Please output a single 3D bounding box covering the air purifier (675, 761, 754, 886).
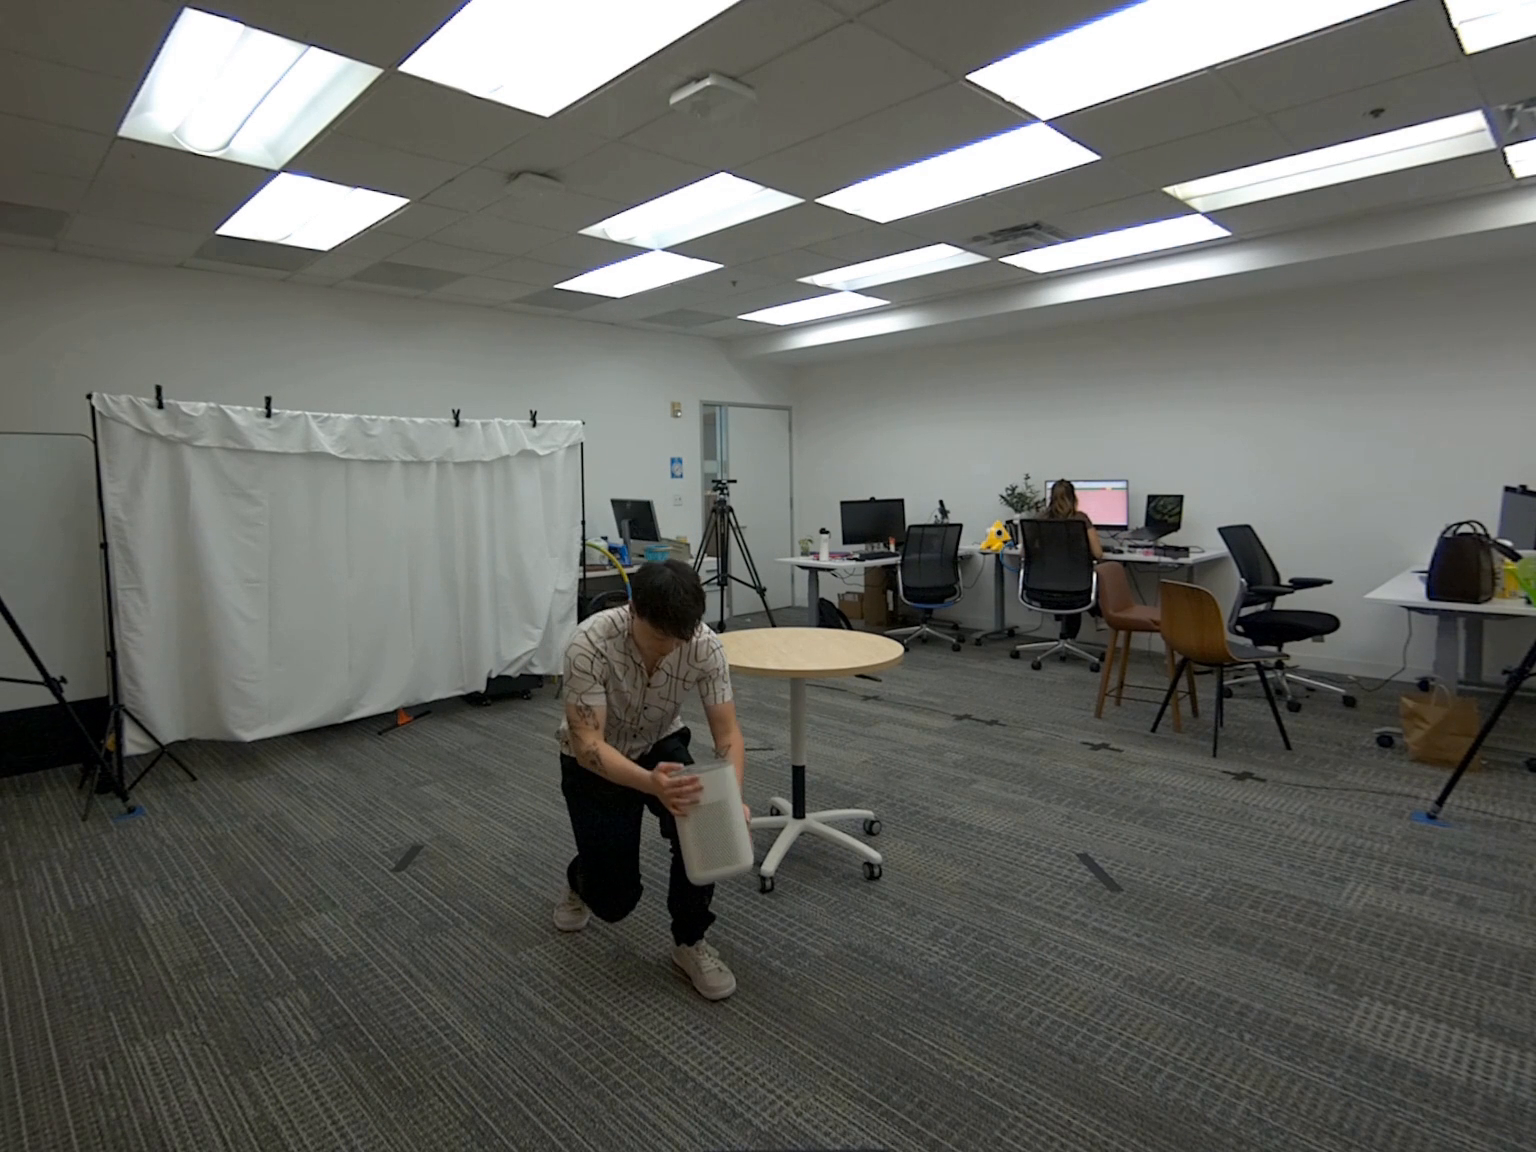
[{"bbox_3d":[-0.151,0.616,2.129,0.171,0.268,0.170,-12,-8,-5],"label":"air purifier"}]
